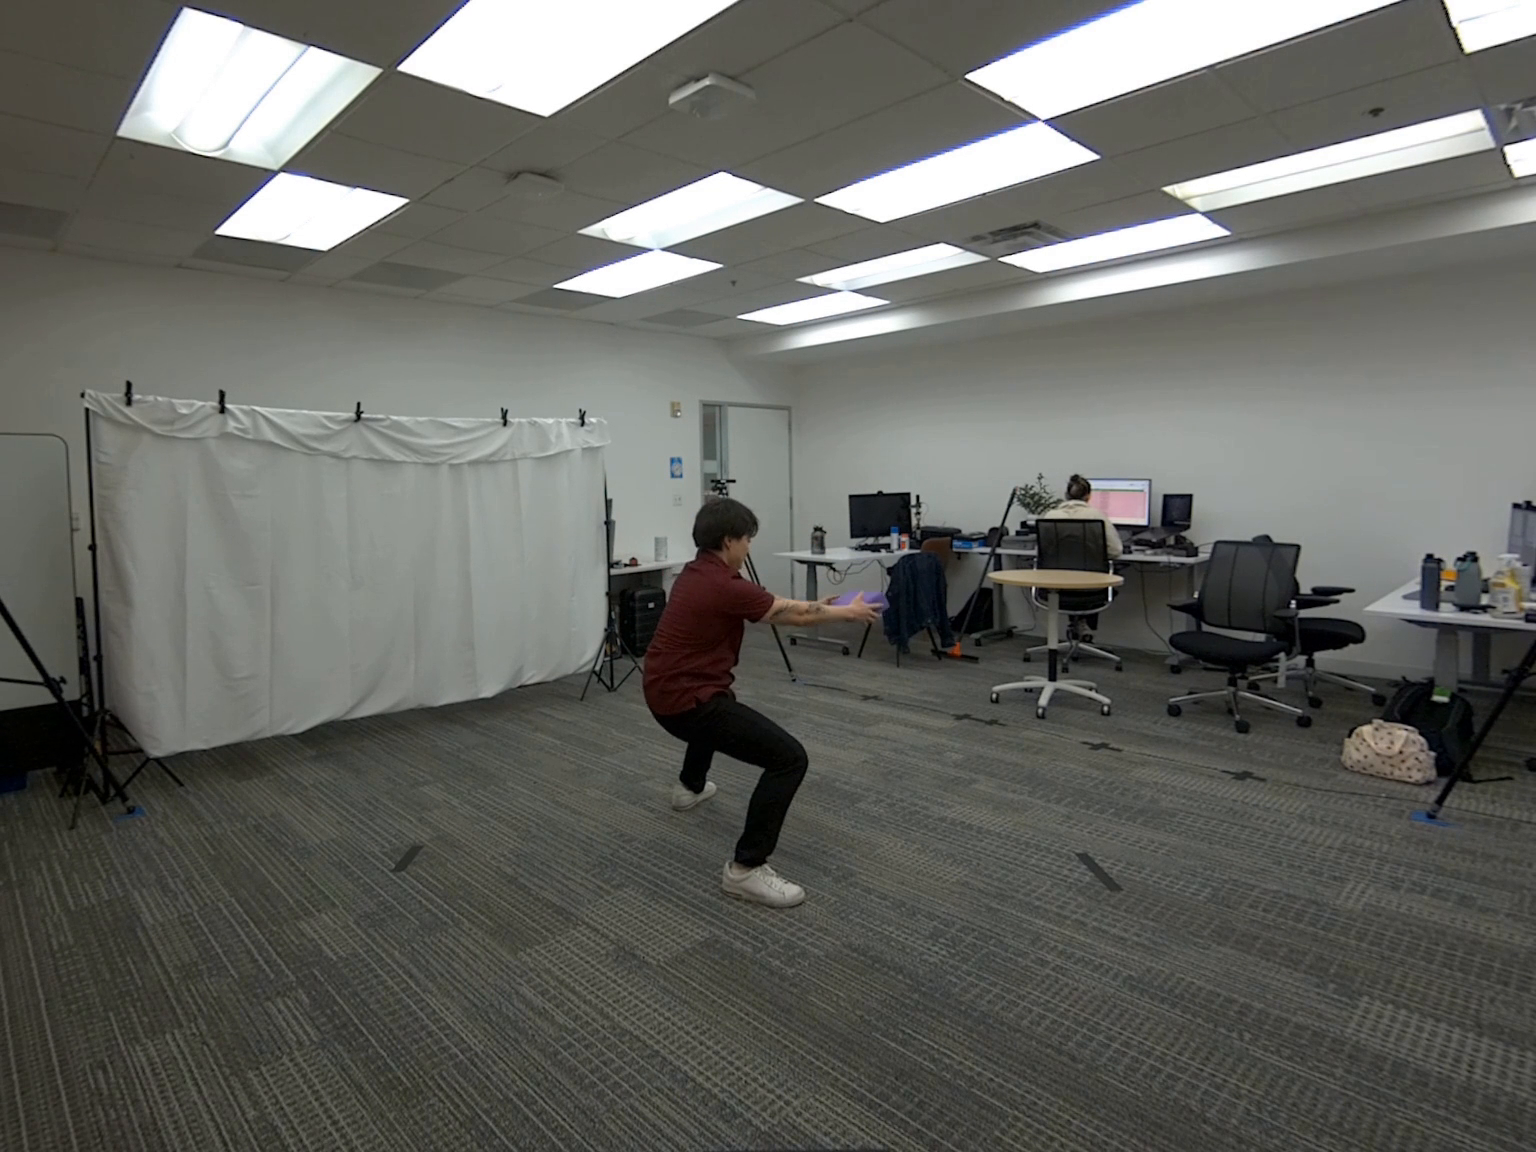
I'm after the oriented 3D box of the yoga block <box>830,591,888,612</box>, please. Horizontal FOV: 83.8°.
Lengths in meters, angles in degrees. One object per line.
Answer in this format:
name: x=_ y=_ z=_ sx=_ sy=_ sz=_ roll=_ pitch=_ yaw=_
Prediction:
yoga block: x=0.362 y=0.108 z=3.482 sx=0.147 sy=0.075 sz=0.235 roll=-24 pitch=13 yaw=-24
